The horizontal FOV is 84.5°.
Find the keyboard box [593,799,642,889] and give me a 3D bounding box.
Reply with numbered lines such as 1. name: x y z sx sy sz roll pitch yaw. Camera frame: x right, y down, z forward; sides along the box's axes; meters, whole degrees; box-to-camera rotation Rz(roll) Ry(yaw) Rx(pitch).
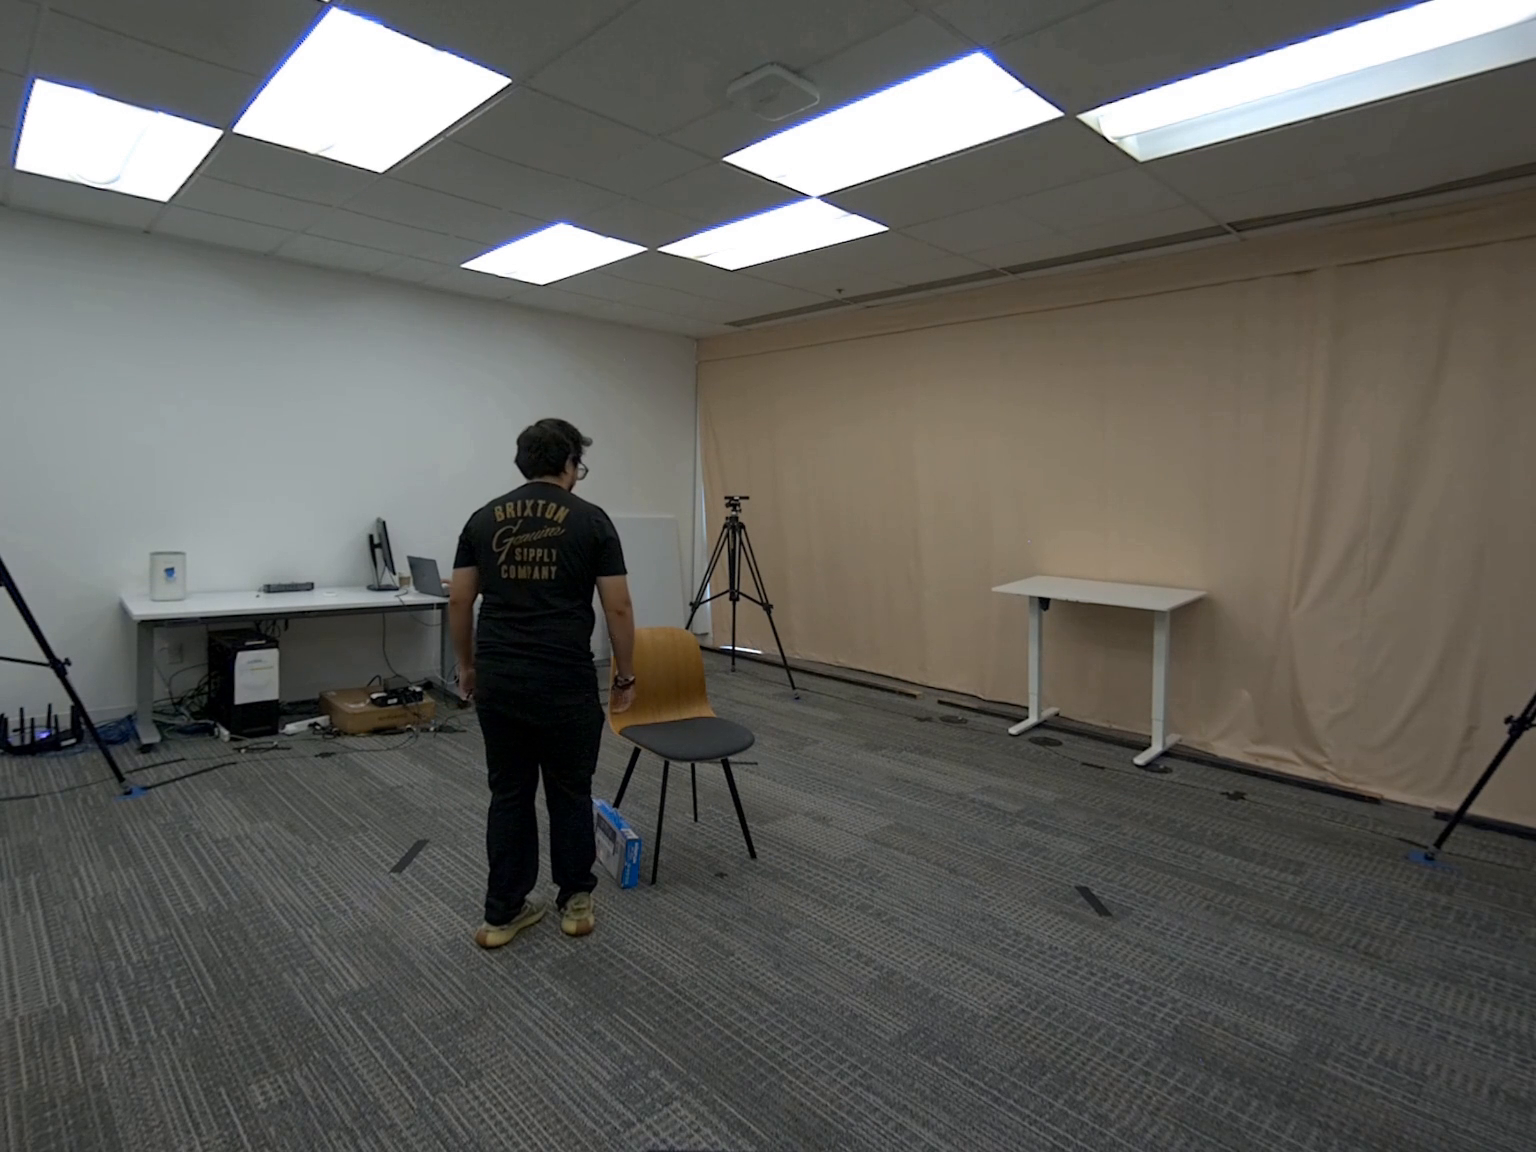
1. keyboard box: -0.599 1.006 3.176 0.058 0.176 0.446 6 2 -29
